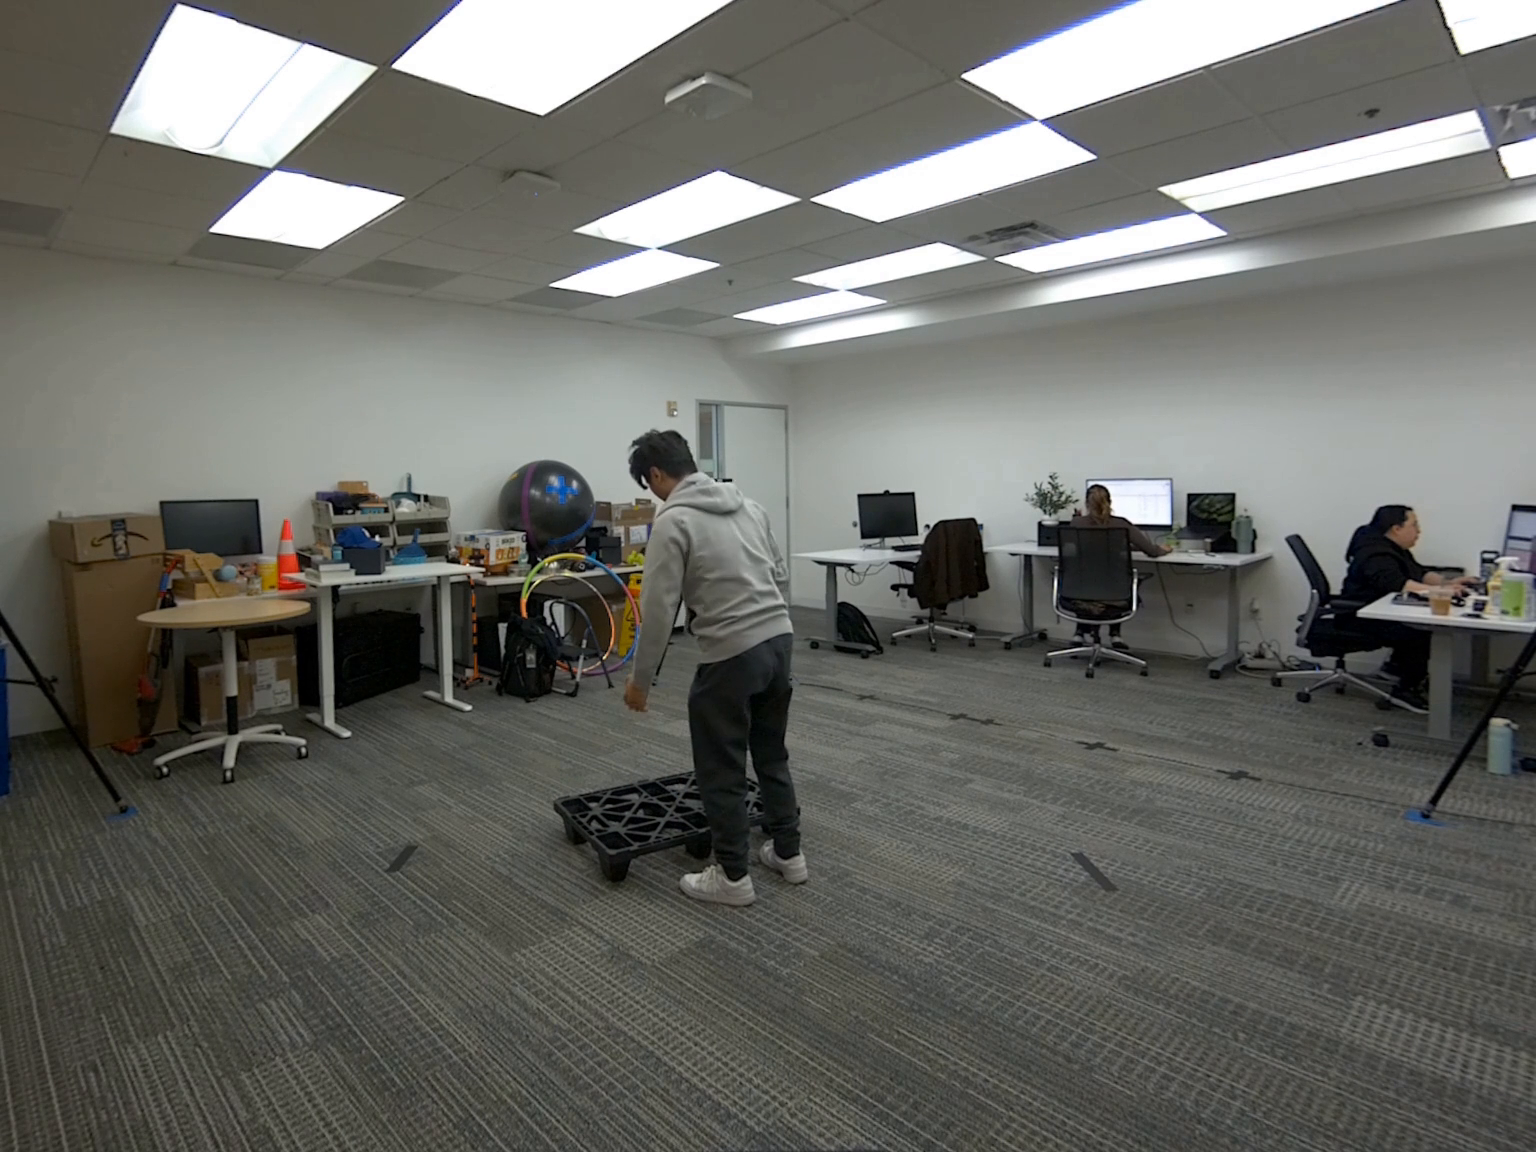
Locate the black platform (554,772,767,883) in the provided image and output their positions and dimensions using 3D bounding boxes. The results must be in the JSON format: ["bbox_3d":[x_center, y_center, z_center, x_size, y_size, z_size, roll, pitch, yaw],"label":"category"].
[{"bbox_3d":[-0.356,0.957,3.354,0.786,0.142,0.623,-5,8,-31],"label":"black platform"}]
